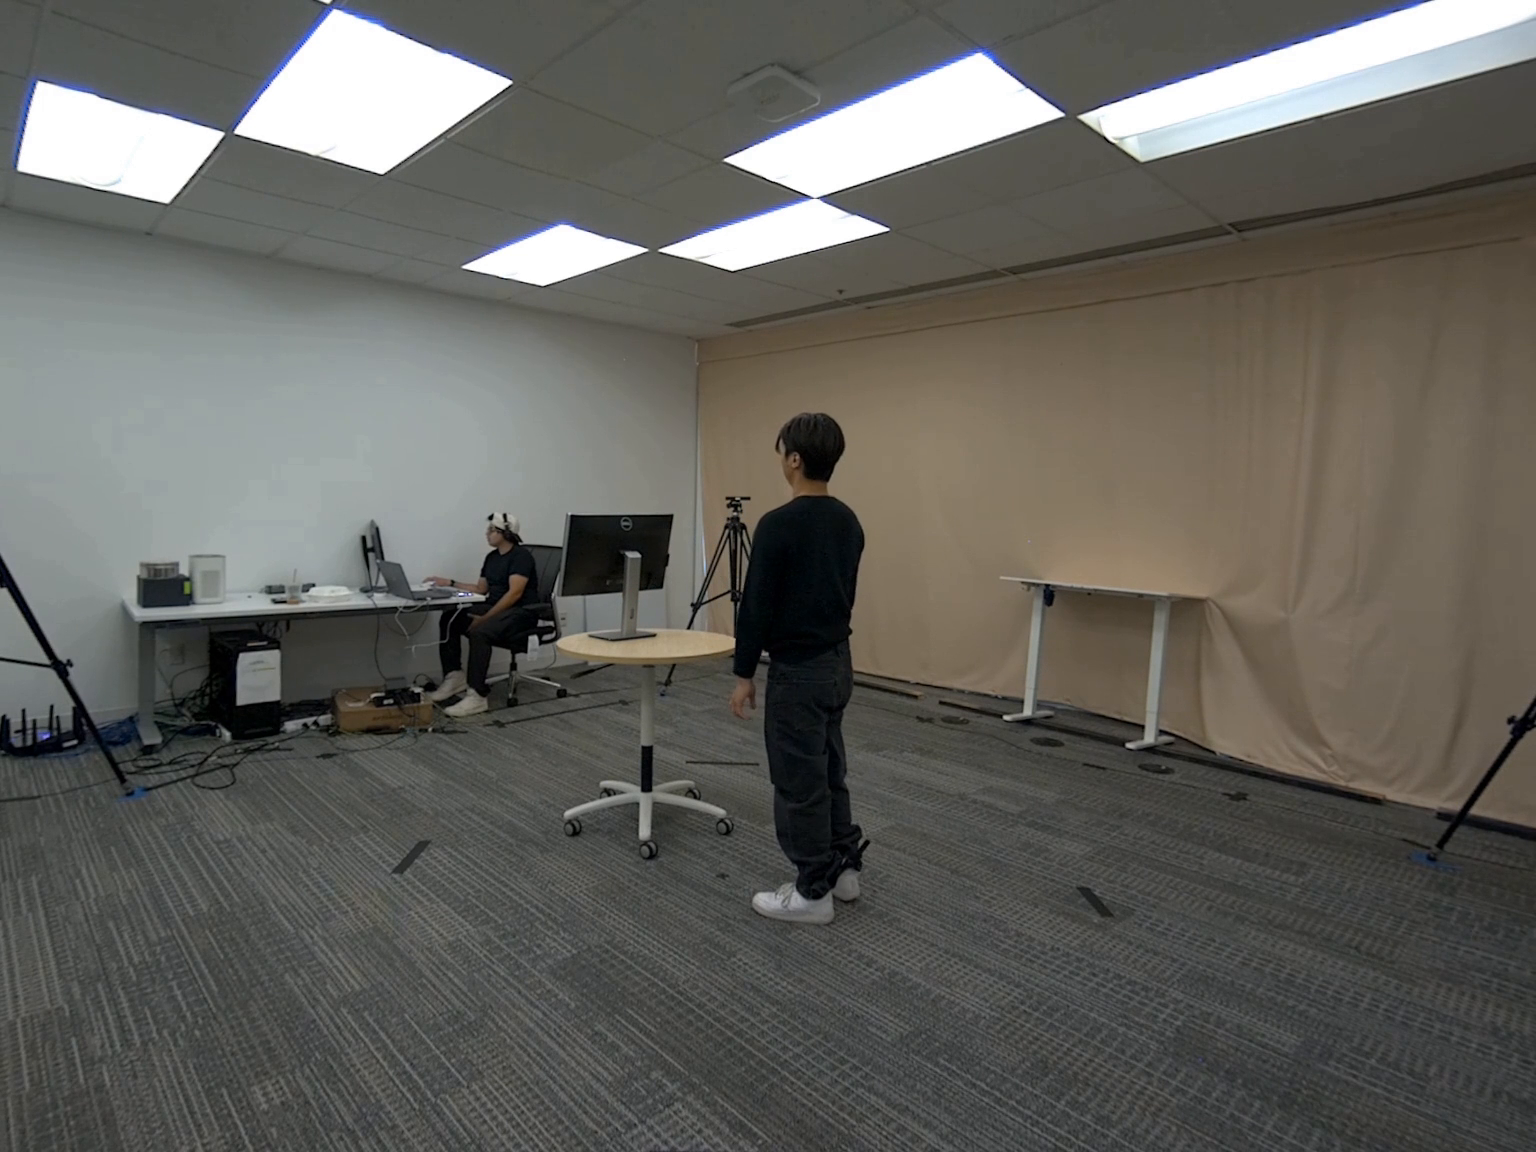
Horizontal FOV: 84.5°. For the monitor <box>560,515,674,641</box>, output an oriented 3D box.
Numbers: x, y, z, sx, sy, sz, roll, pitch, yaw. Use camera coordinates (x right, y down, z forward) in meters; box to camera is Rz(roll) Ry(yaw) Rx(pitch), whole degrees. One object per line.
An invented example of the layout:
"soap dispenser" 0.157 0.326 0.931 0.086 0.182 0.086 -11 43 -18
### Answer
"monitor" -0.650 -0.005 3.690 0.178 0.515 0.518 -3 2 44
